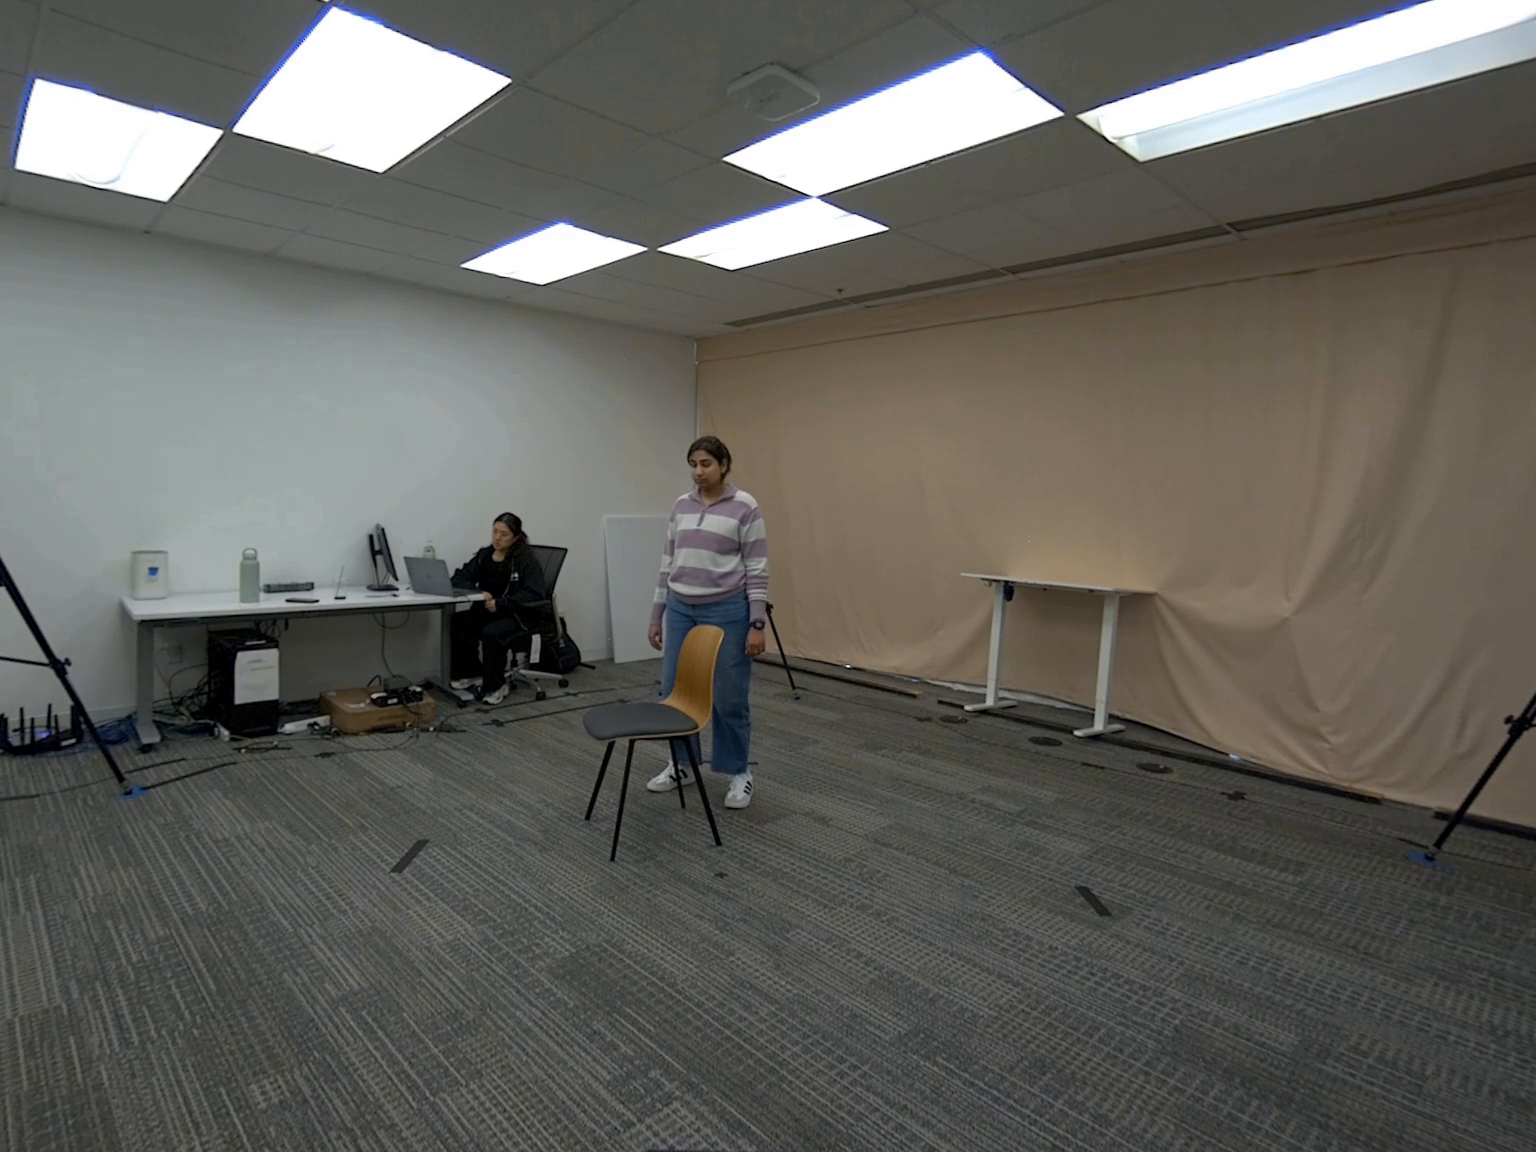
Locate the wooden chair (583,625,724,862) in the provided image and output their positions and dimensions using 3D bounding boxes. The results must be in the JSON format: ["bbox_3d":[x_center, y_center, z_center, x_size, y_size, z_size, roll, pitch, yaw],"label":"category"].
[{"bbox_3d":[-0.491,0.640,3.451,0.513,0.876,0.487,4,2,-24],"label":"wooden chair"}]
